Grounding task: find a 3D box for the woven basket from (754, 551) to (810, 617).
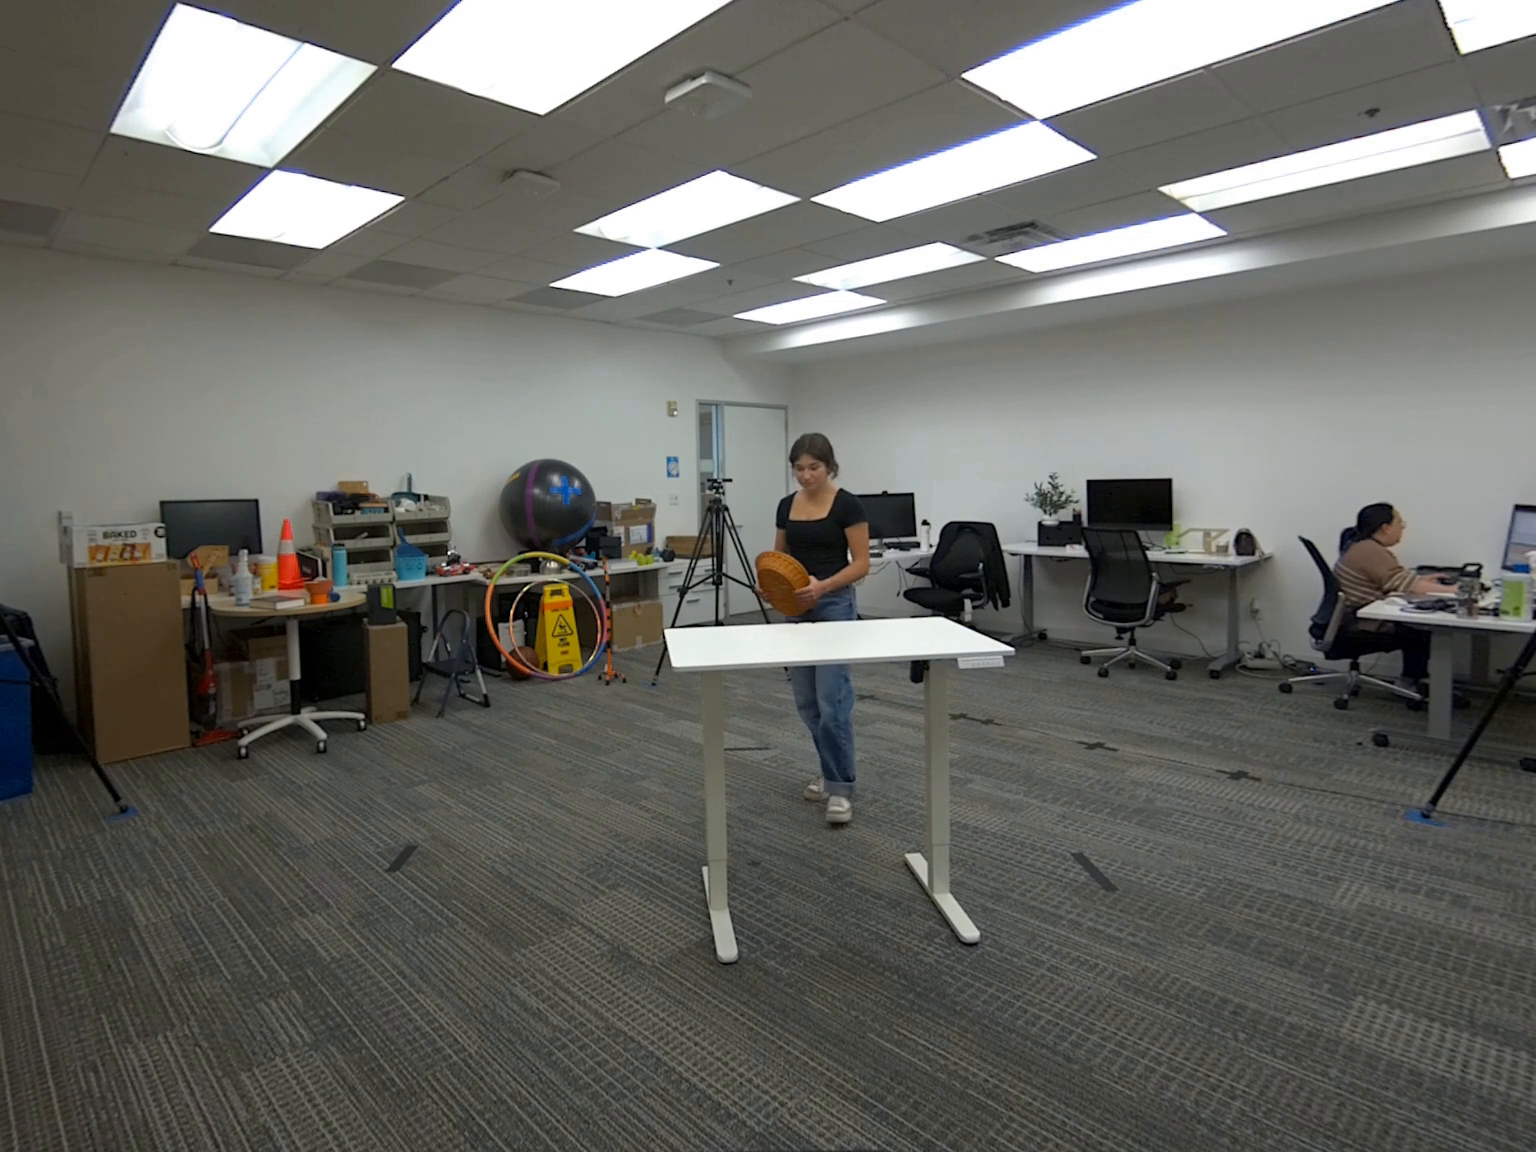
[{"bbox_3d":[0.069,0.046,3.531,0.259,0.338,0.074,0,43,37],"label":"woven basket"}]
